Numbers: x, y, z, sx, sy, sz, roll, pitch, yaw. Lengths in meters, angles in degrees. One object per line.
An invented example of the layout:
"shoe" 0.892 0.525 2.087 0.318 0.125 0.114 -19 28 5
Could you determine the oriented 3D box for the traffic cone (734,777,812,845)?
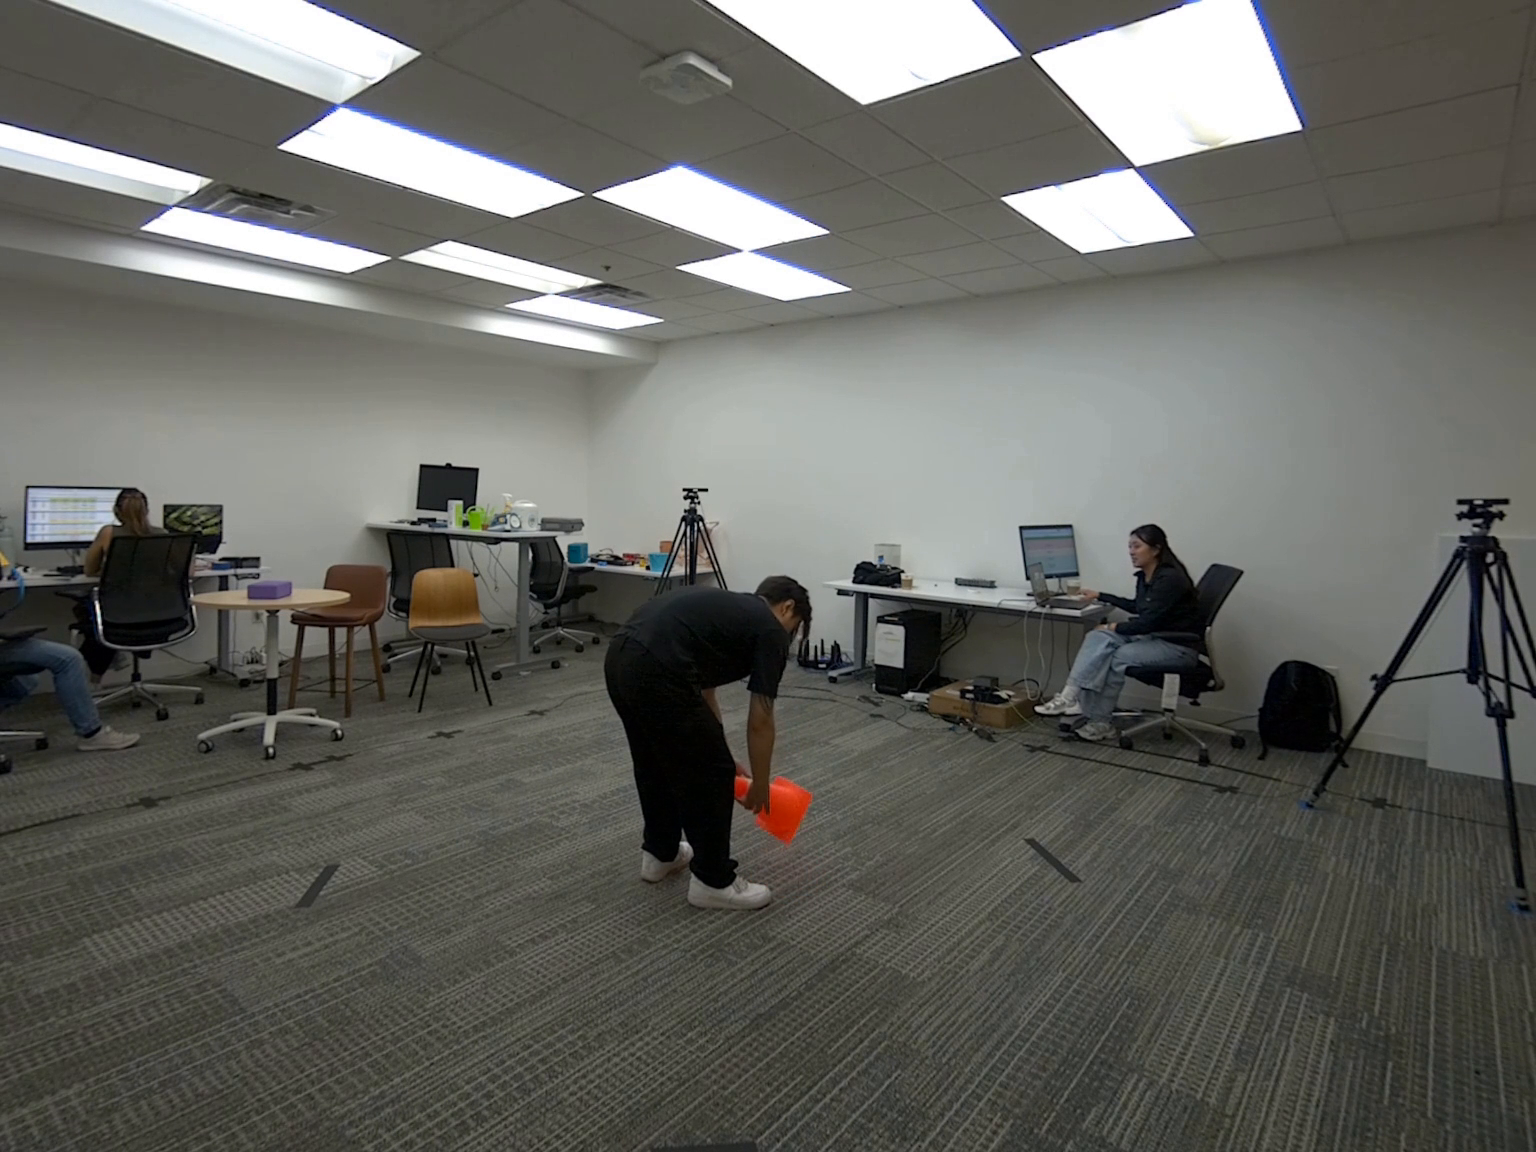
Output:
"traffic cone" -0.066 0.777 3.027 0.368 0.204 0.213 35 -13 -39
